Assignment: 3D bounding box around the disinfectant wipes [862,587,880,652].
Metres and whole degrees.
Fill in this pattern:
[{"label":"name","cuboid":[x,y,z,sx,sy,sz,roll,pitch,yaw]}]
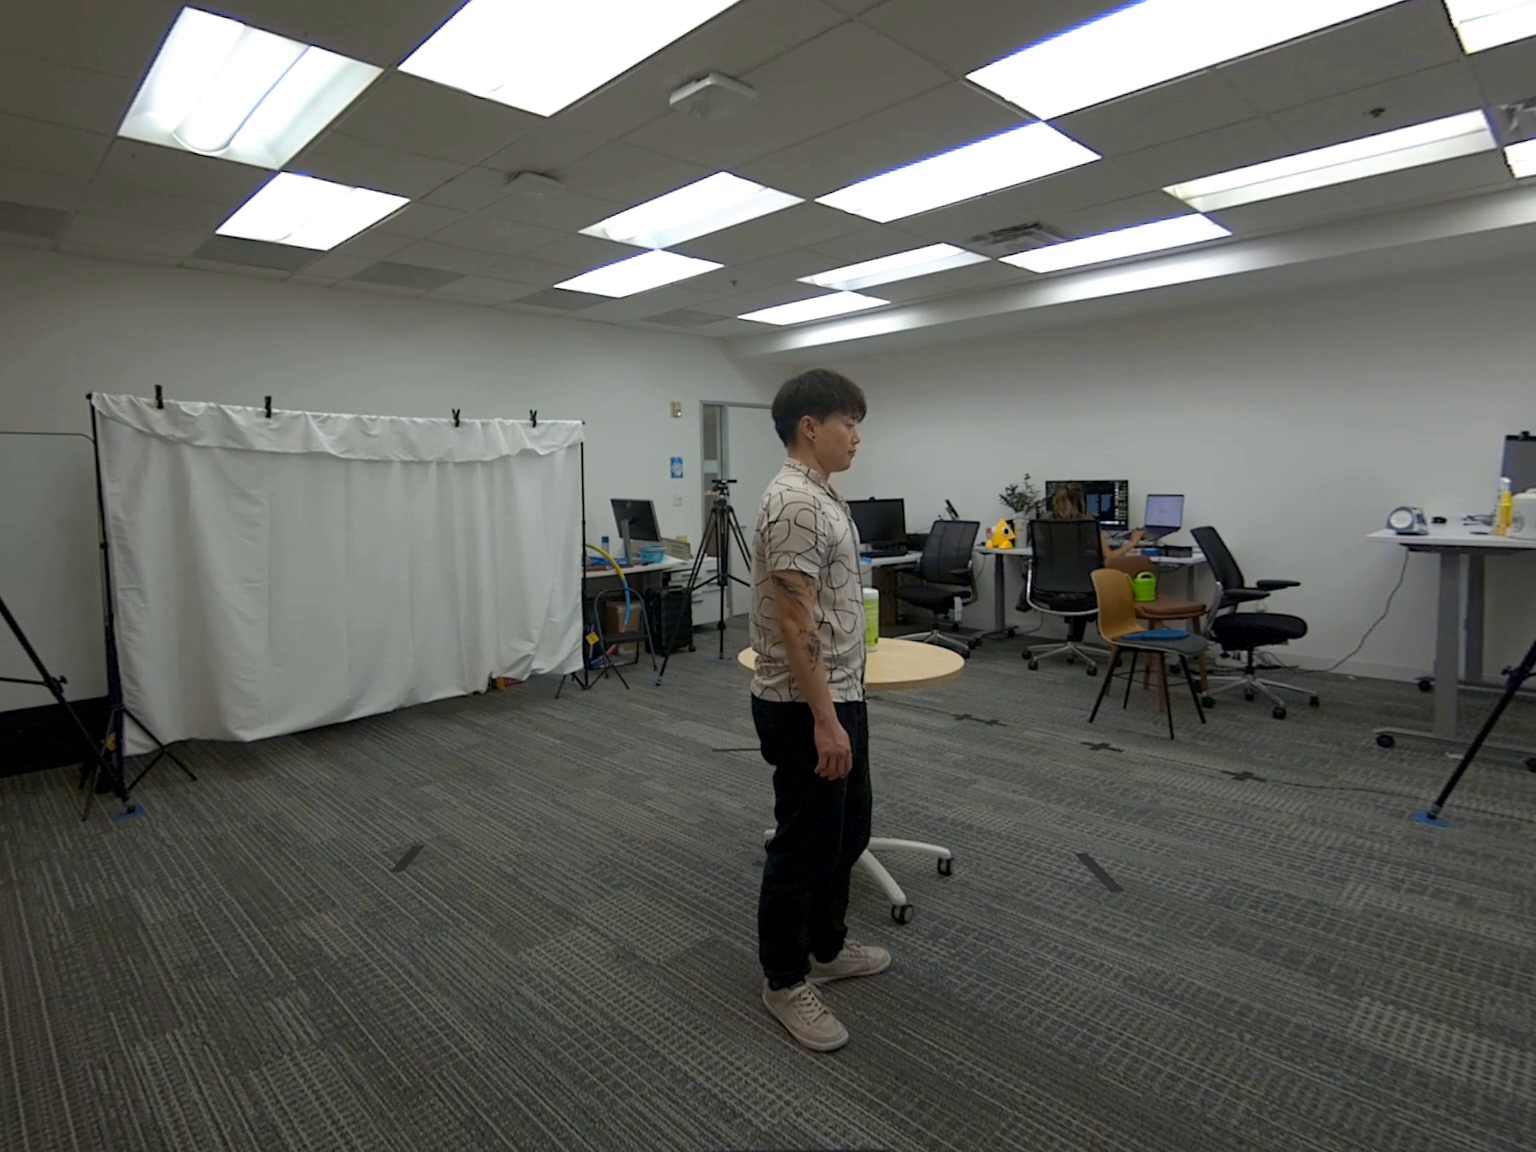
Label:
[{"label":"disinfectant wipes","cuboid":[0.345,0.159,3.057,0.118,0.217,0.118,-1,4,-2]}]
